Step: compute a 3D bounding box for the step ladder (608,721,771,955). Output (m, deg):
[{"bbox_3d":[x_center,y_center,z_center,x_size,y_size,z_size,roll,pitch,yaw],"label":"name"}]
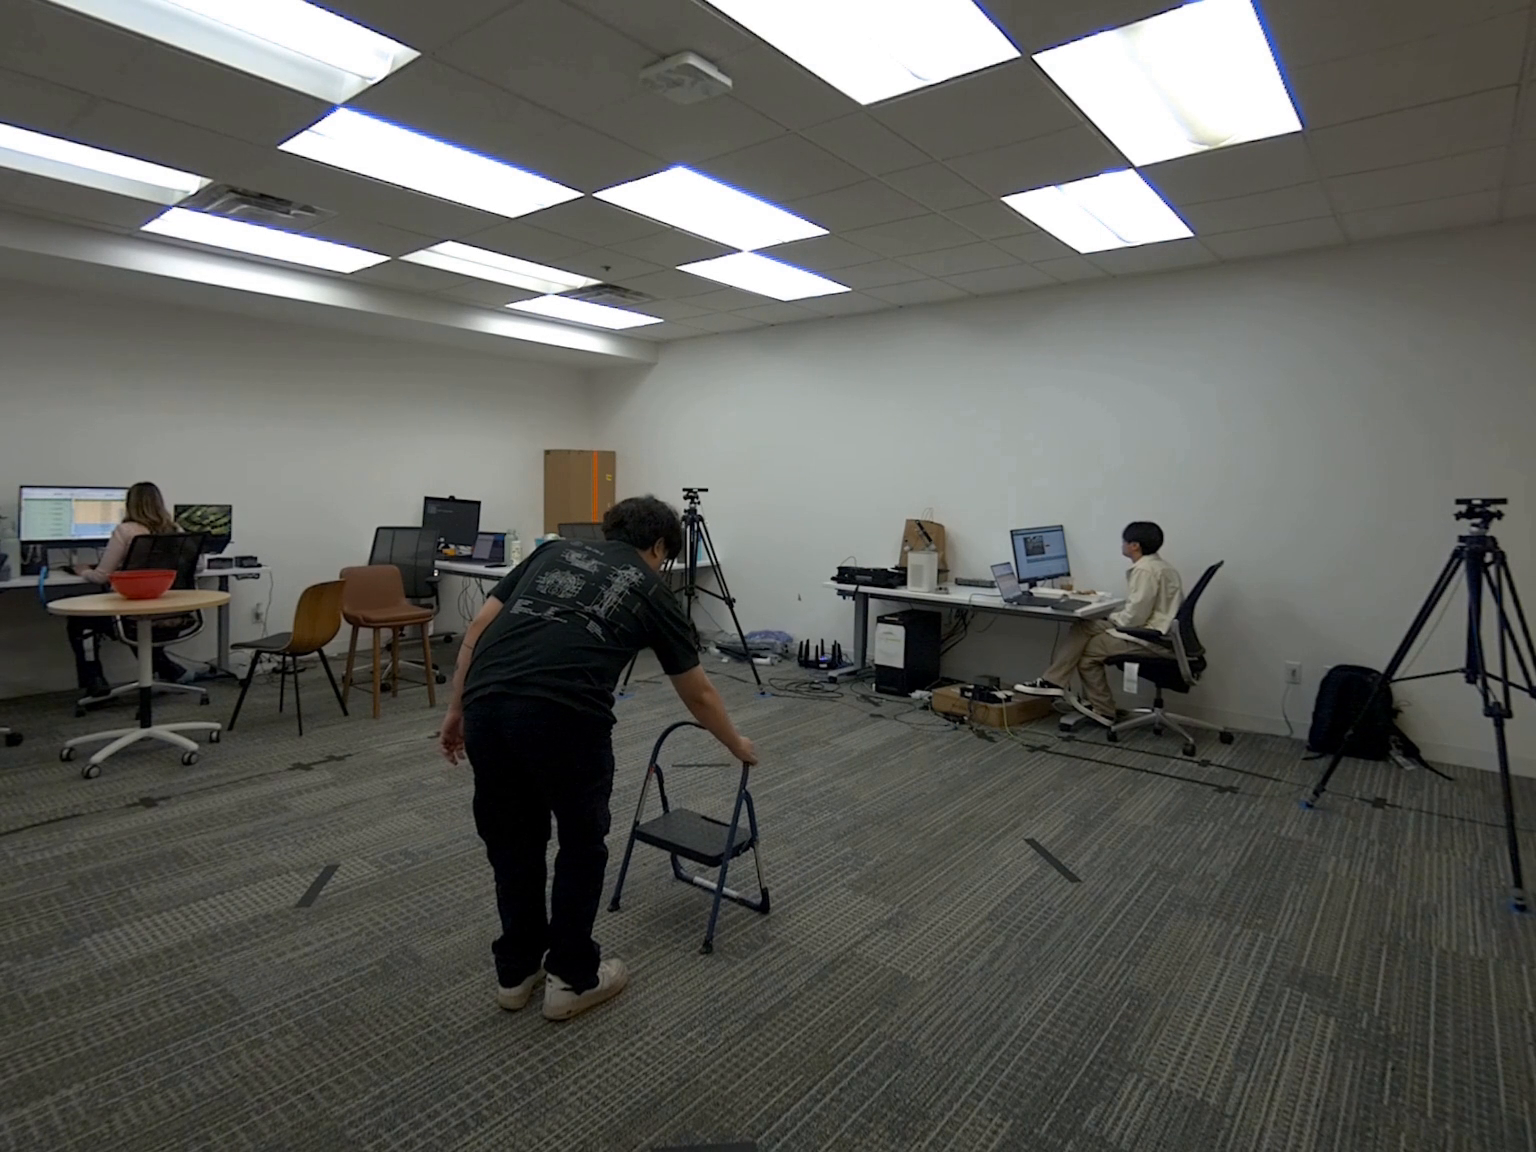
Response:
[{"bbox_3d":[-0.259,0.797,2.784,0.445,0.604,0.339,4,5,37],"label":"step ladder"}]
